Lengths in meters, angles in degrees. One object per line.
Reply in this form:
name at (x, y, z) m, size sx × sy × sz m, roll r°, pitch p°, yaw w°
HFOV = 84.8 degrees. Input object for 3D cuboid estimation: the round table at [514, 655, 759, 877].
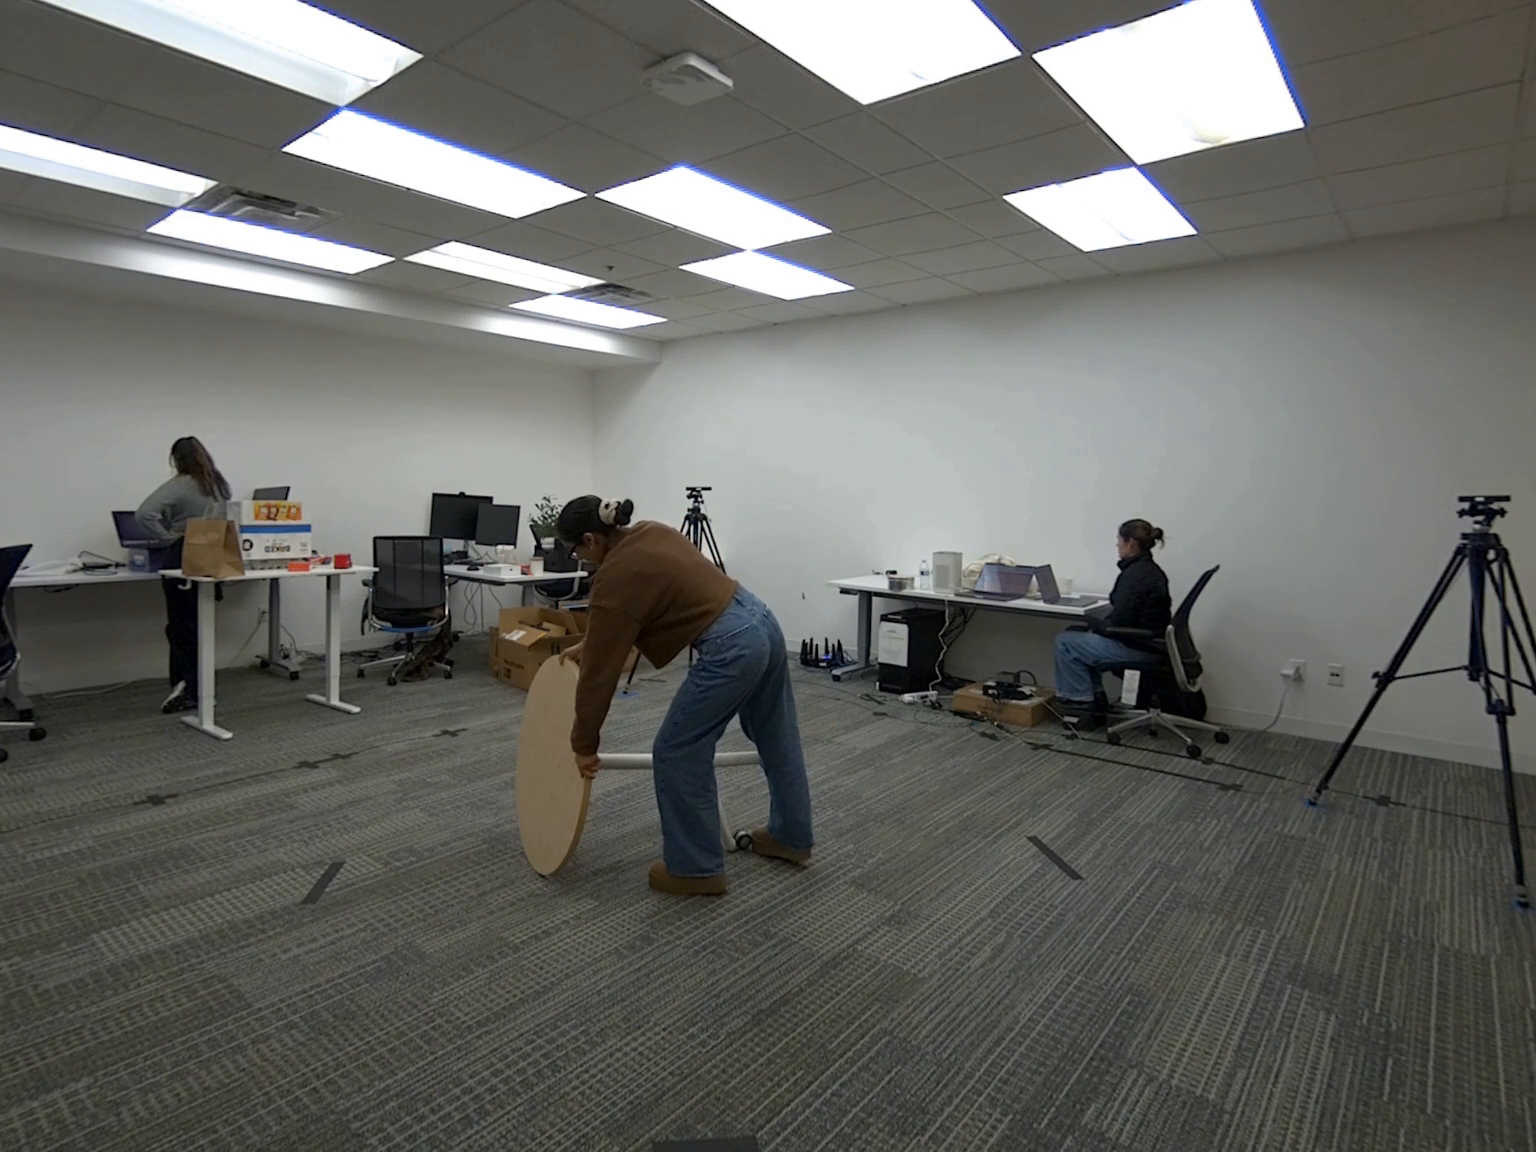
round table at (-0.492, 0.706, 3.287) m, size 0.770 × 0.764 × 0.787 m, roll 8°, pitch 0°, yaw -30°
